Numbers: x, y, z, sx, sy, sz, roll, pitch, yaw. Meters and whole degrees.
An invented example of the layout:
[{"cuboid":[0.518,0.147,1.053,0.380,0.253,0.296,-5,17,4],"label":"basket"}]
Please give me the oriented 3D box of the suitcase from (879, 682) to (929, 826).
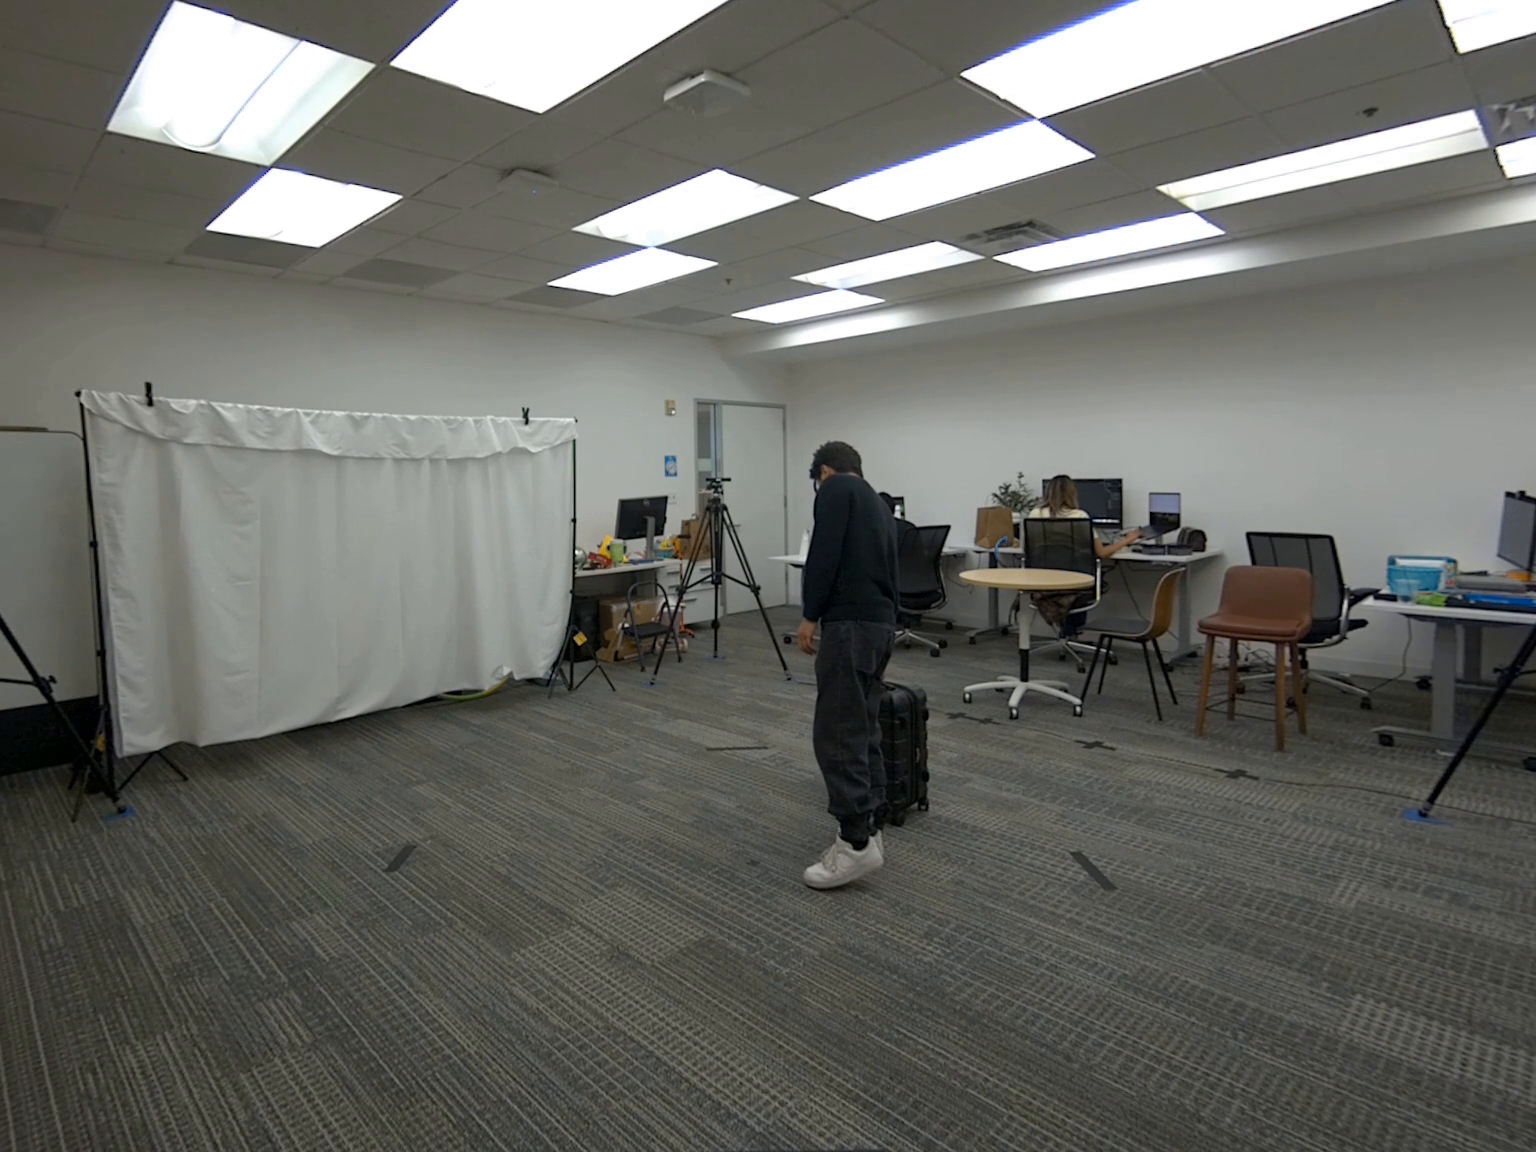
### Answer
[{"cuboid":[0.471,0.705,3.575,0.387,0.547,0.242,3,6,45],"label":"suitcase"}]
